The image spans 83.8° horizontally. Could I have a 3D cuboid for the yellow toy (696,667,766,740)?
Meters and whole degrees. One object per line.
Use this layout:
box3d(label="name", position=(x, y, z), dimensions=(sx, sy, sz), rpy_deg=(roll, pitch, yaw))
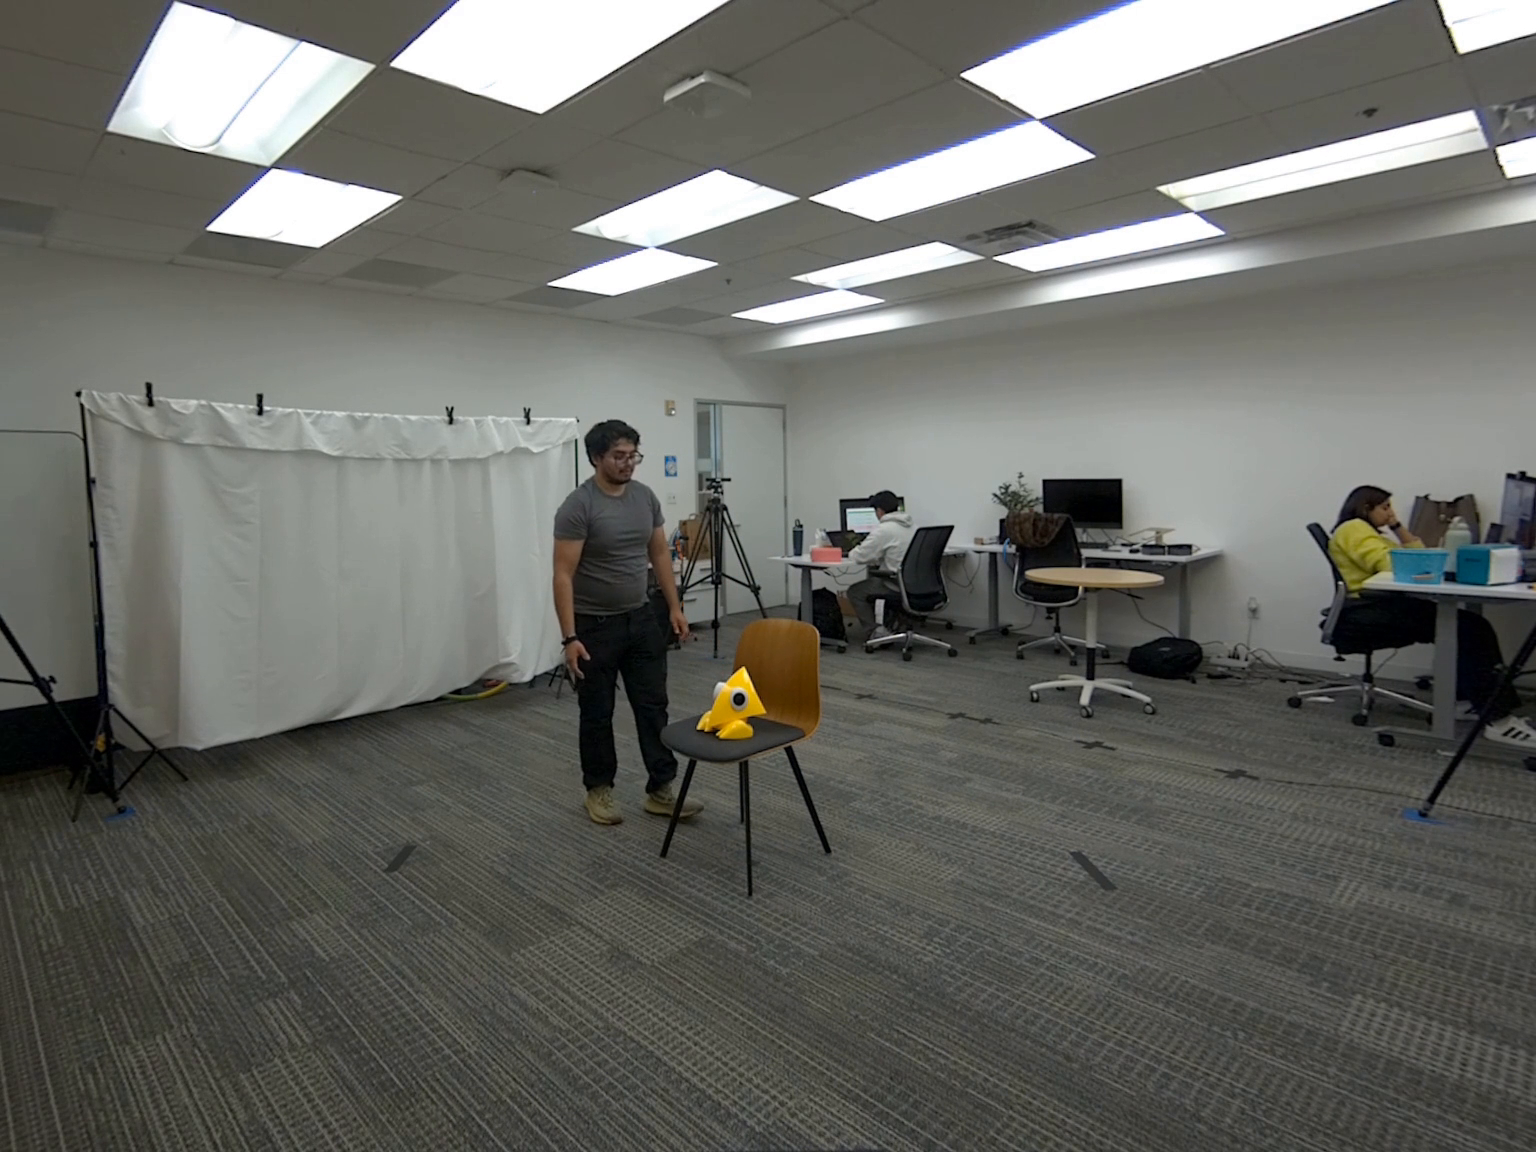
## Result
box3d(label="yellow toy", position=(-0.137, 0.451, 3.106), dimensions=(0.187, 0.230, 0.211), rpy_deg=(1, 5, -42))
